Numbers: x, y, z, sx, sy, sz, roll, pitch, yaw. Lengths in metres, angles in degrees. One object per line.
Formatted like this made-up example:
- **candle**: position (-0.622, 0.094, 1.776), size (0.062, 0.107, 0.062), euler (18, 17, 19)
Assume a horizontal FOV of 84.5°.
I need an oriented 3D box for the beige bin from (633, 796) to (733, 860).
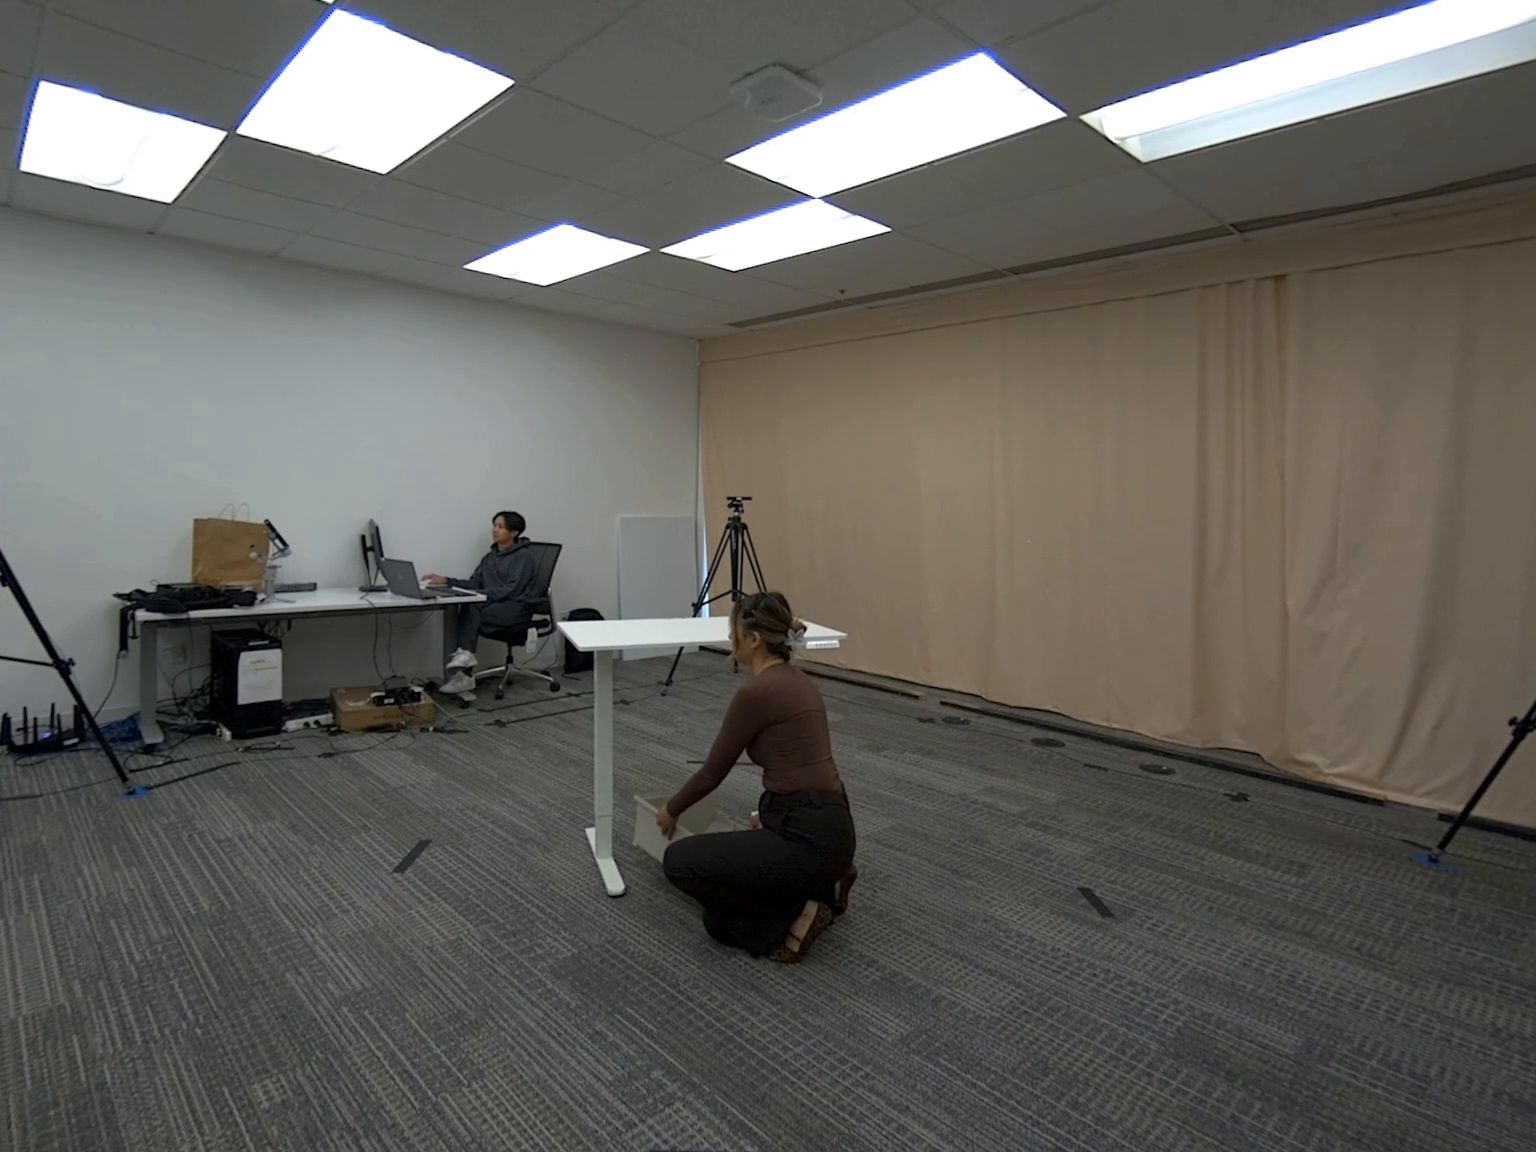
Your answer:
- **beige bin**: position (-0.225, 0.929, 3.008), size (0.368, 0.189, 0.433), euler (4, 4, -38)
